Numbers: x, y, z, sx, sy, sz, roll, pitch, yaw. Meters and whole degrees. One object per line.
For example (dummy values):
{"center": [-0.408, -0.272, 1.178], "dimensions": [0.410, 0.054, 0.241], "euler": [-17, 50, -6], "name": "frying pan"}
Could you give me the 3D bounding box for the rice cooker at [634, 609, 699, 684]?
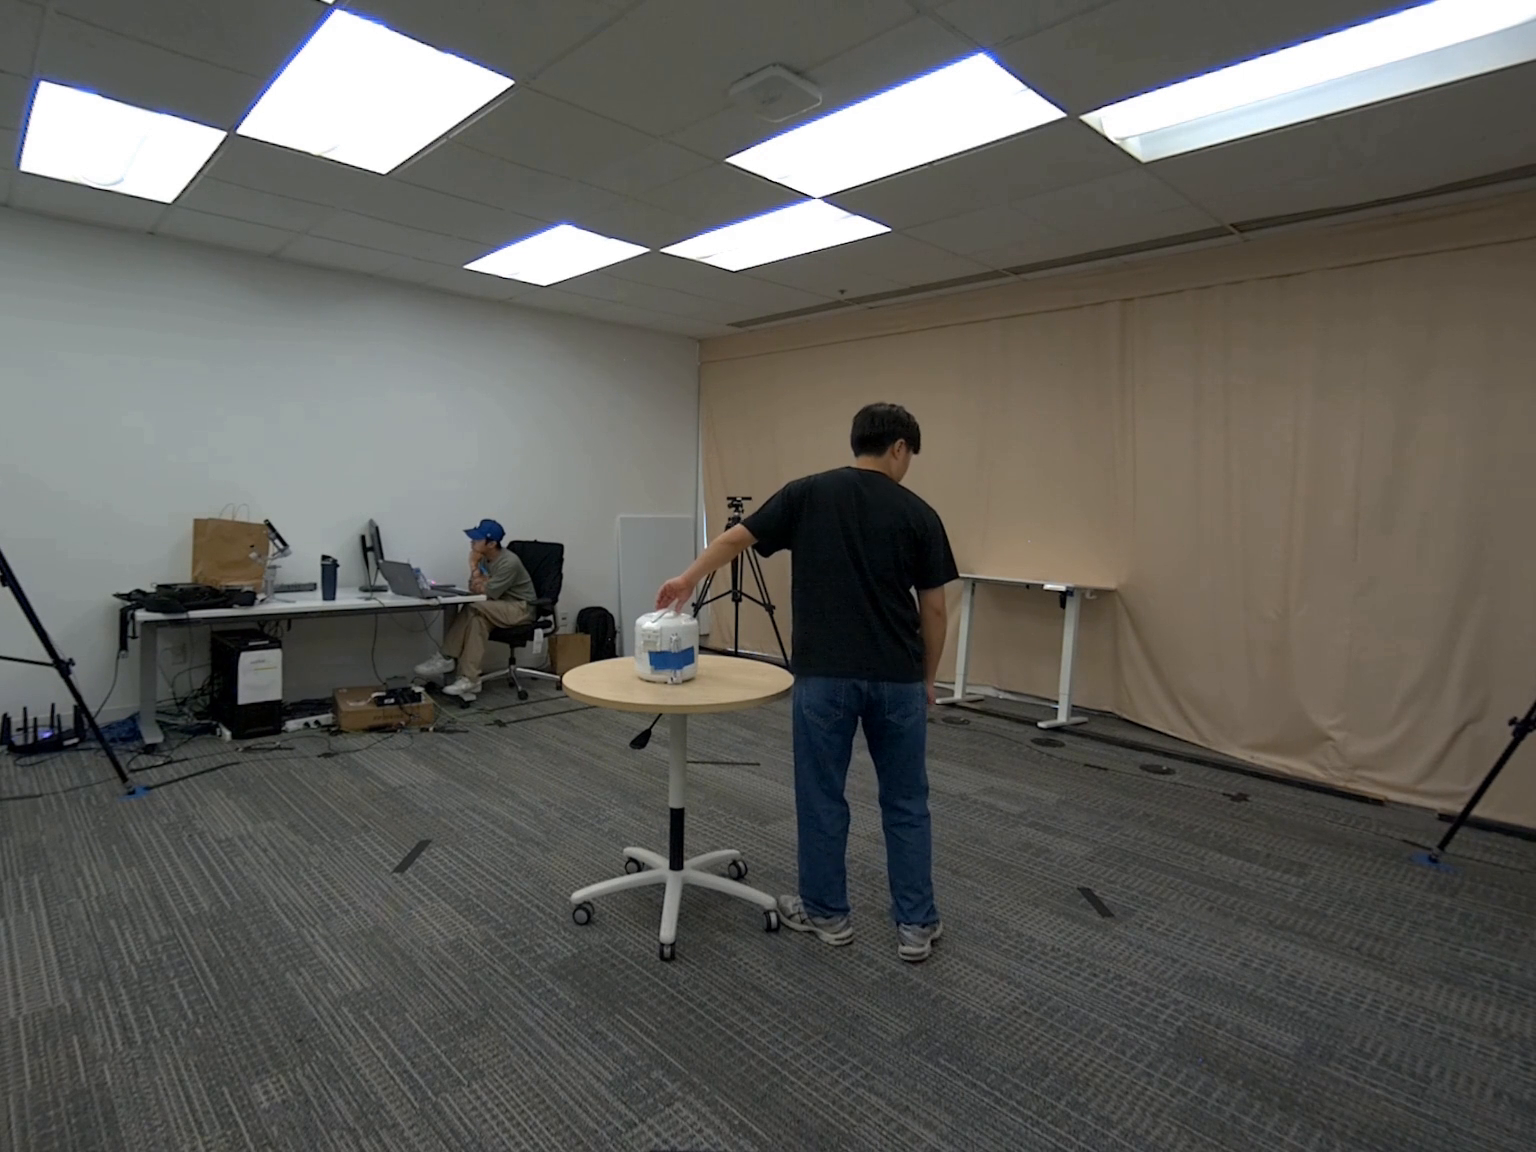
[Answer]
{"center": [-0.340, 0.222, 2.763], "dimensions": [0.222, 0.232, 0.217], "euler": [4, 5, 25], "name": "rice cooker"}
